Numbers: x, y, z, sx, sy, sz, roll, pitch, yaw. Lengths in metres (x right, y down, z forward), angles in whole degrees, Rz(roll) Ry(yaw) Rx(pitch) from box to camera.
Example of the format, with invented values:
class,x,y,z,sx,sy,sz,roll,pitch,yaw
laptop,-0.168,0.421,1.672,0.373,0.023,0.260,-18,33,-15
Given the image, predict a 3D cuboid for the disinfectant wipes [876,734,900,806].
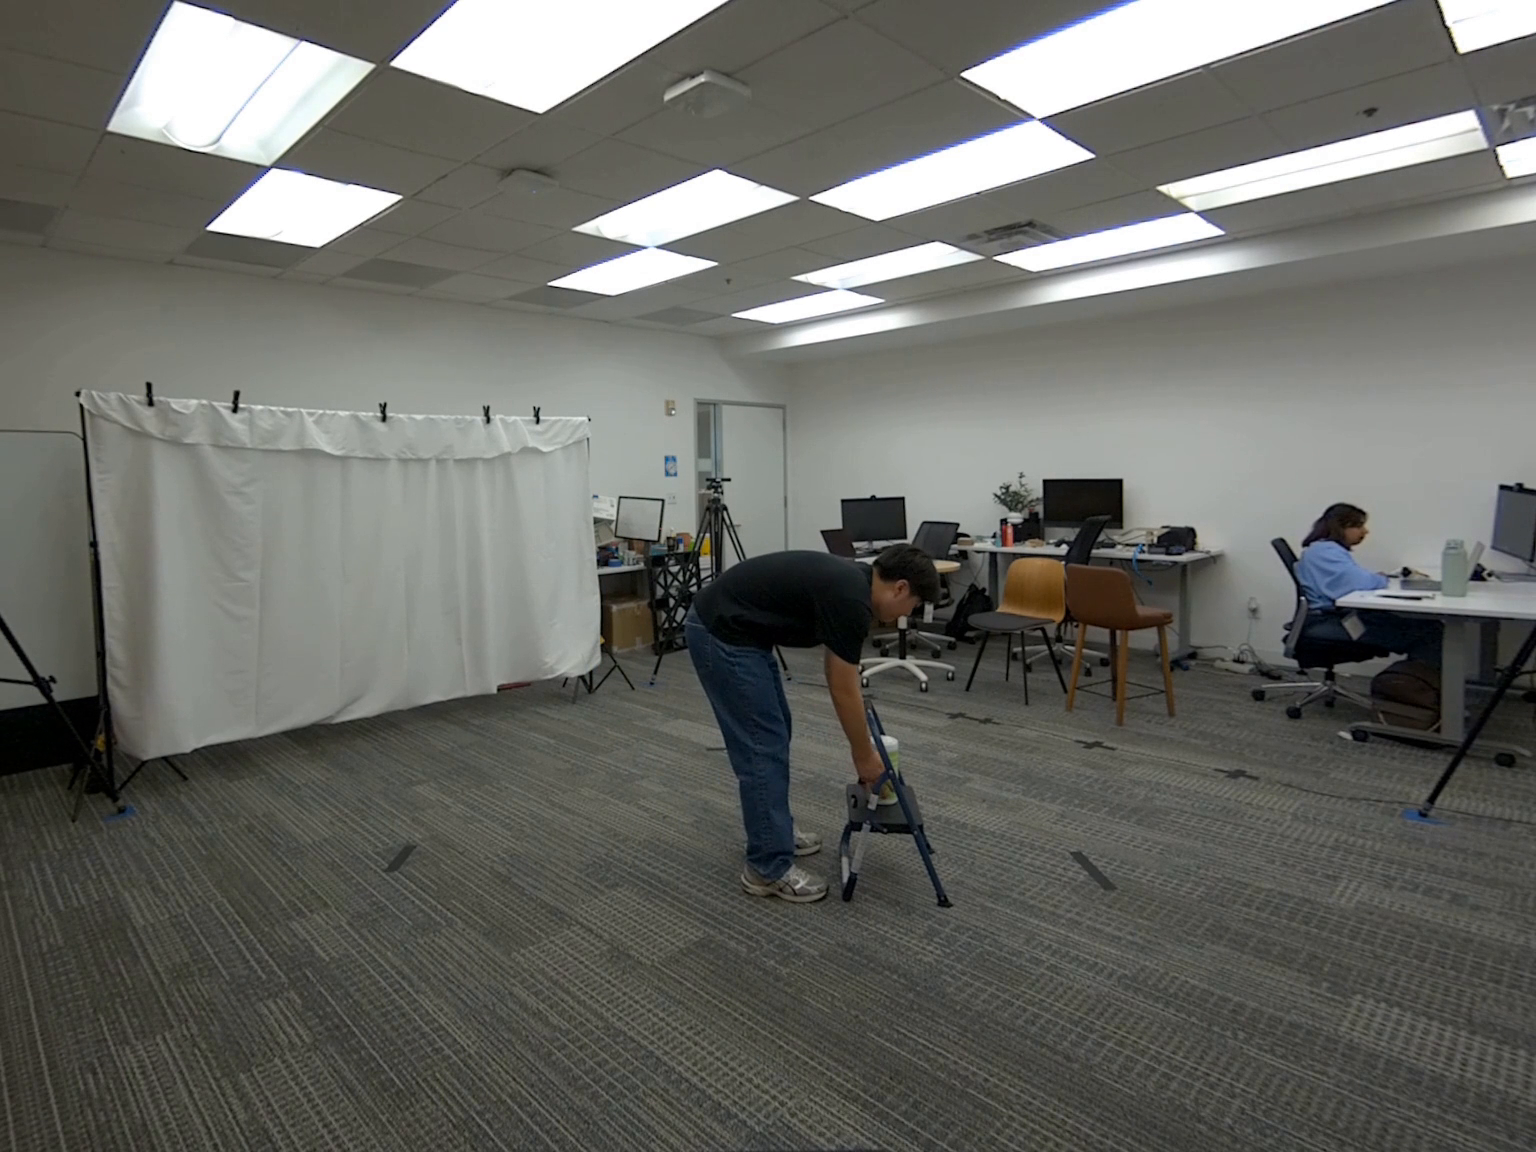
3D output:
class,x,y,z,sx,sy,sz,roll,pitch,yaw
disinfectant wipes,0.394,0.674,2.994,0.118,0.216,0.118,1,6,-2
